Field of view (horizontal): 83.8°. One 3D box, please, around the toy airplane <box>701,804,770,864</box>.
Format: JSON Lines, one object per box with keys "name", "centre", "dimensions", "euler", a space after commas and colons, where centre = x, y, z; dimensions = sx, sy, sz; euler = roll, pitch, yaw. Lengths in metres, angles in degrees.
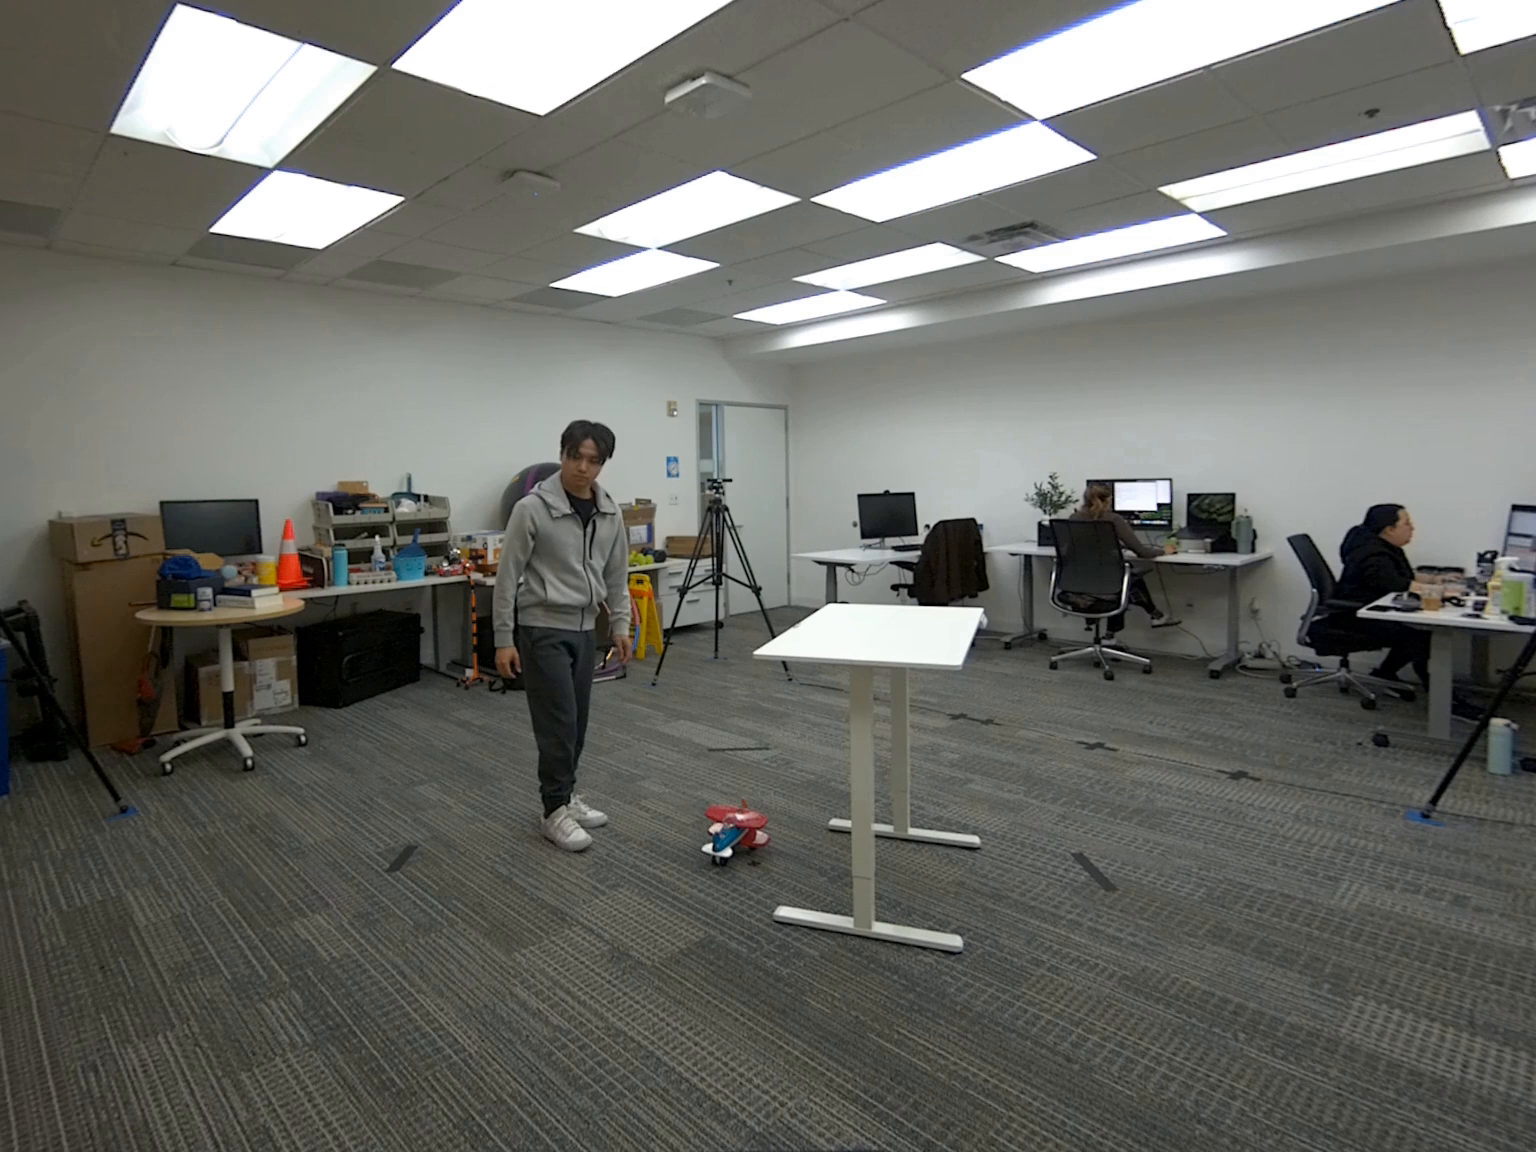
{"name": "toy airplane", "centre": [-0.114, 0.963, 3.164], "dimensions": [0.251, 0.156, 0.259], "euler": [0, 3, 1]}
